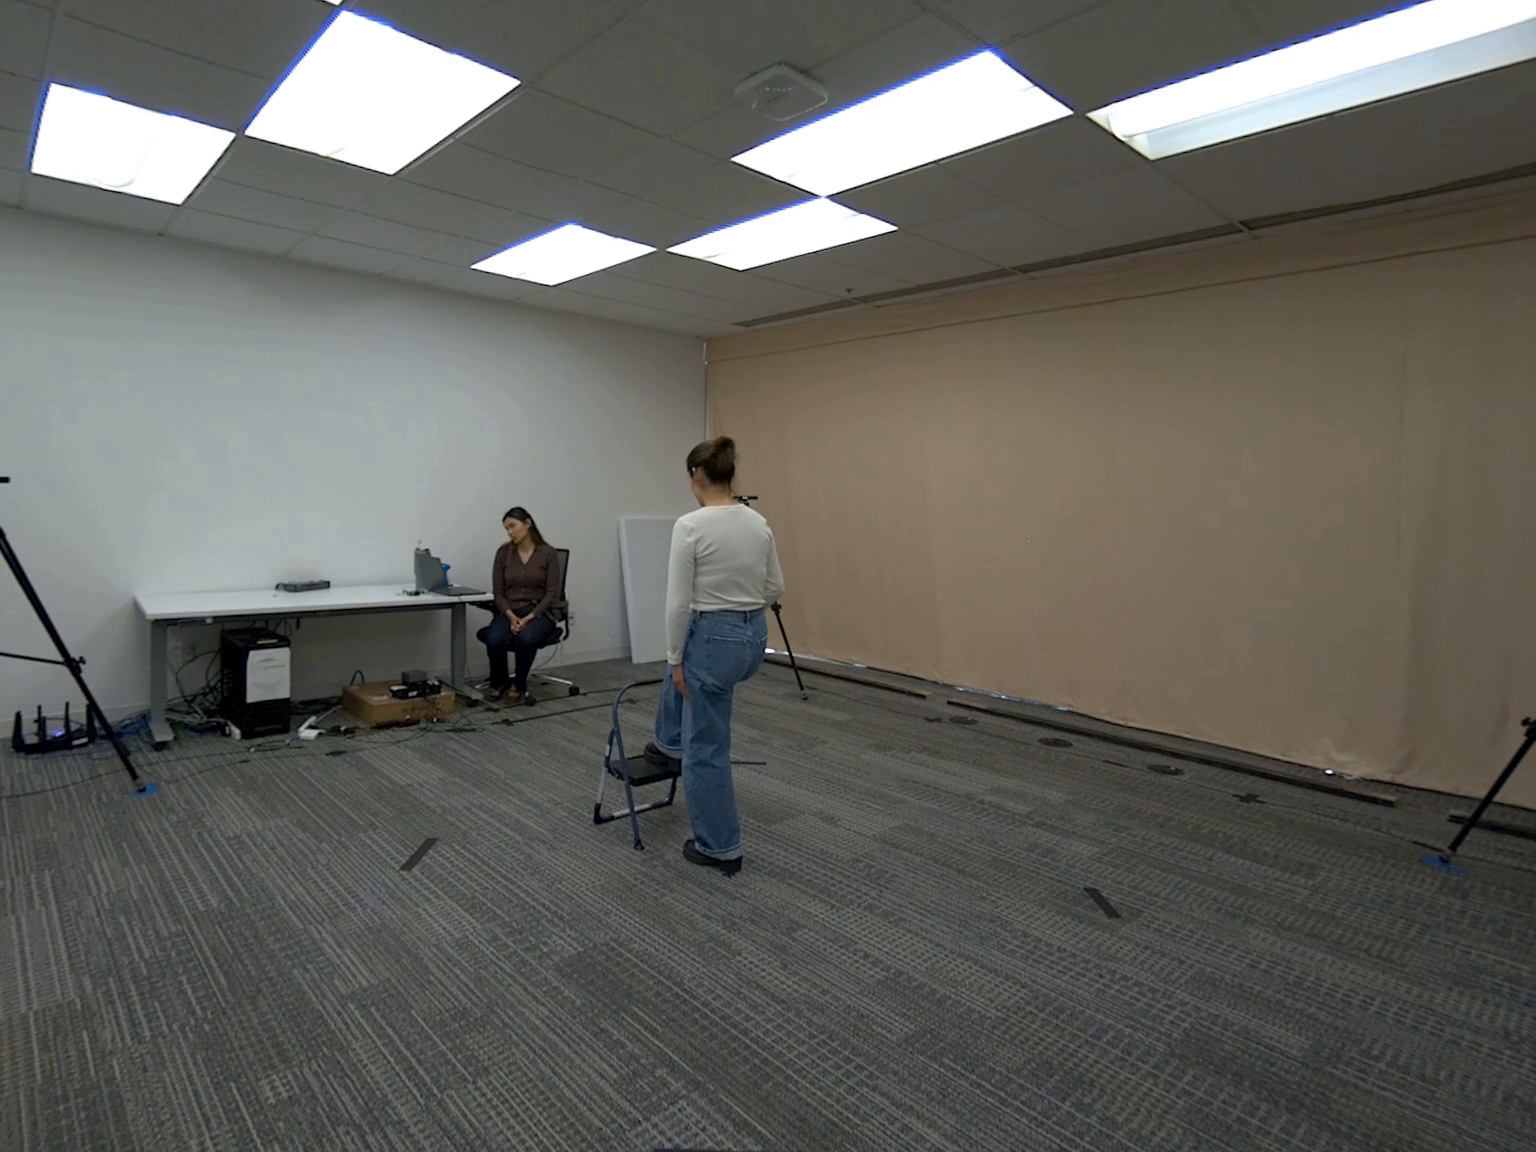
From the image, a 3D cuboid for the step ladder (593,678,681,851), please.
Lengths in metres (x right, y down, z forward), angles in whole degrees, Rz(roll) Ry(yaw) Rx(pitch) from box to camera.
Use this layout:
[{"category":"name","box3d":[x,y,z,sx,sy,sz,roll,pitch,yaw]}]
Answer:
[{"category":"step ladder","box3d":[-0.475,0.754,3.556,0.420,0.605,0.358,-1,4,-44]}]
